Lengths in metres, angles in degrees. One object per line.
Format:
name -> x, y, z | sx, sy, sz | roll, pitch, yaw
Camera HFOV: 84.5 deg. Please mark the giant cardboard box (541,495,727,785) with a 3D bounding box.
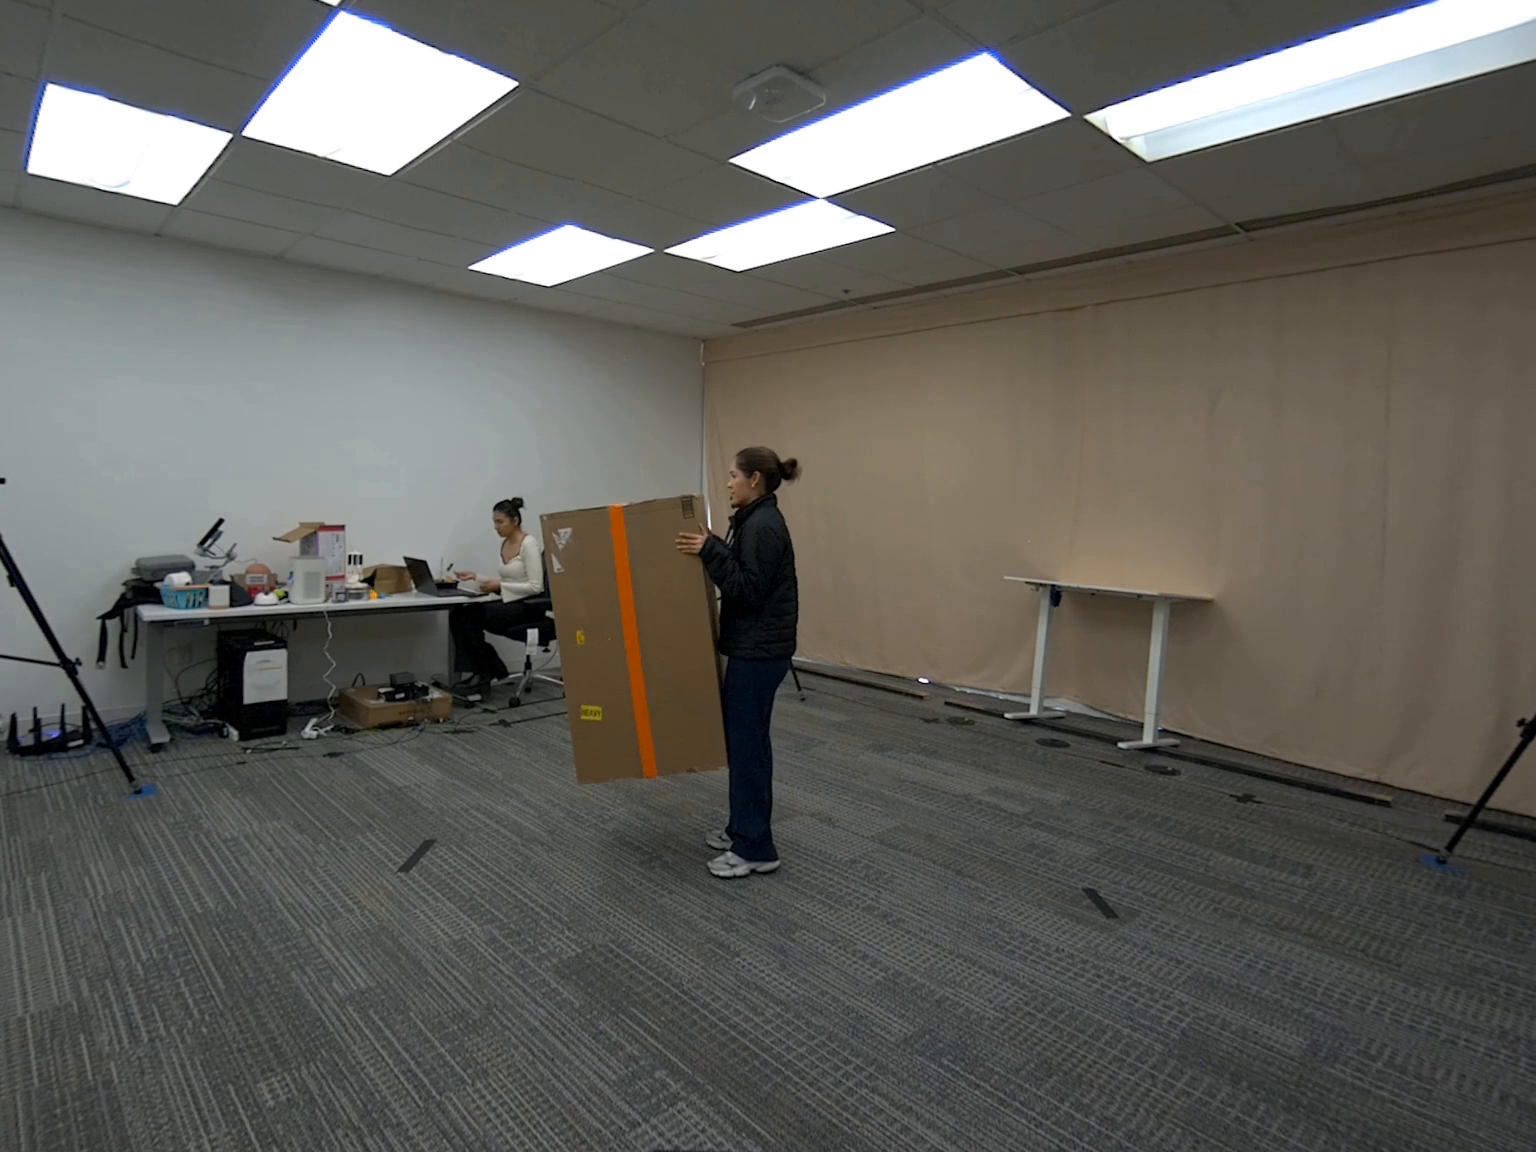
giant cardboard box -> -0.489, 0.225, 3.289 | 0.579, 1.023, 0.426 | -6, 4, 4
